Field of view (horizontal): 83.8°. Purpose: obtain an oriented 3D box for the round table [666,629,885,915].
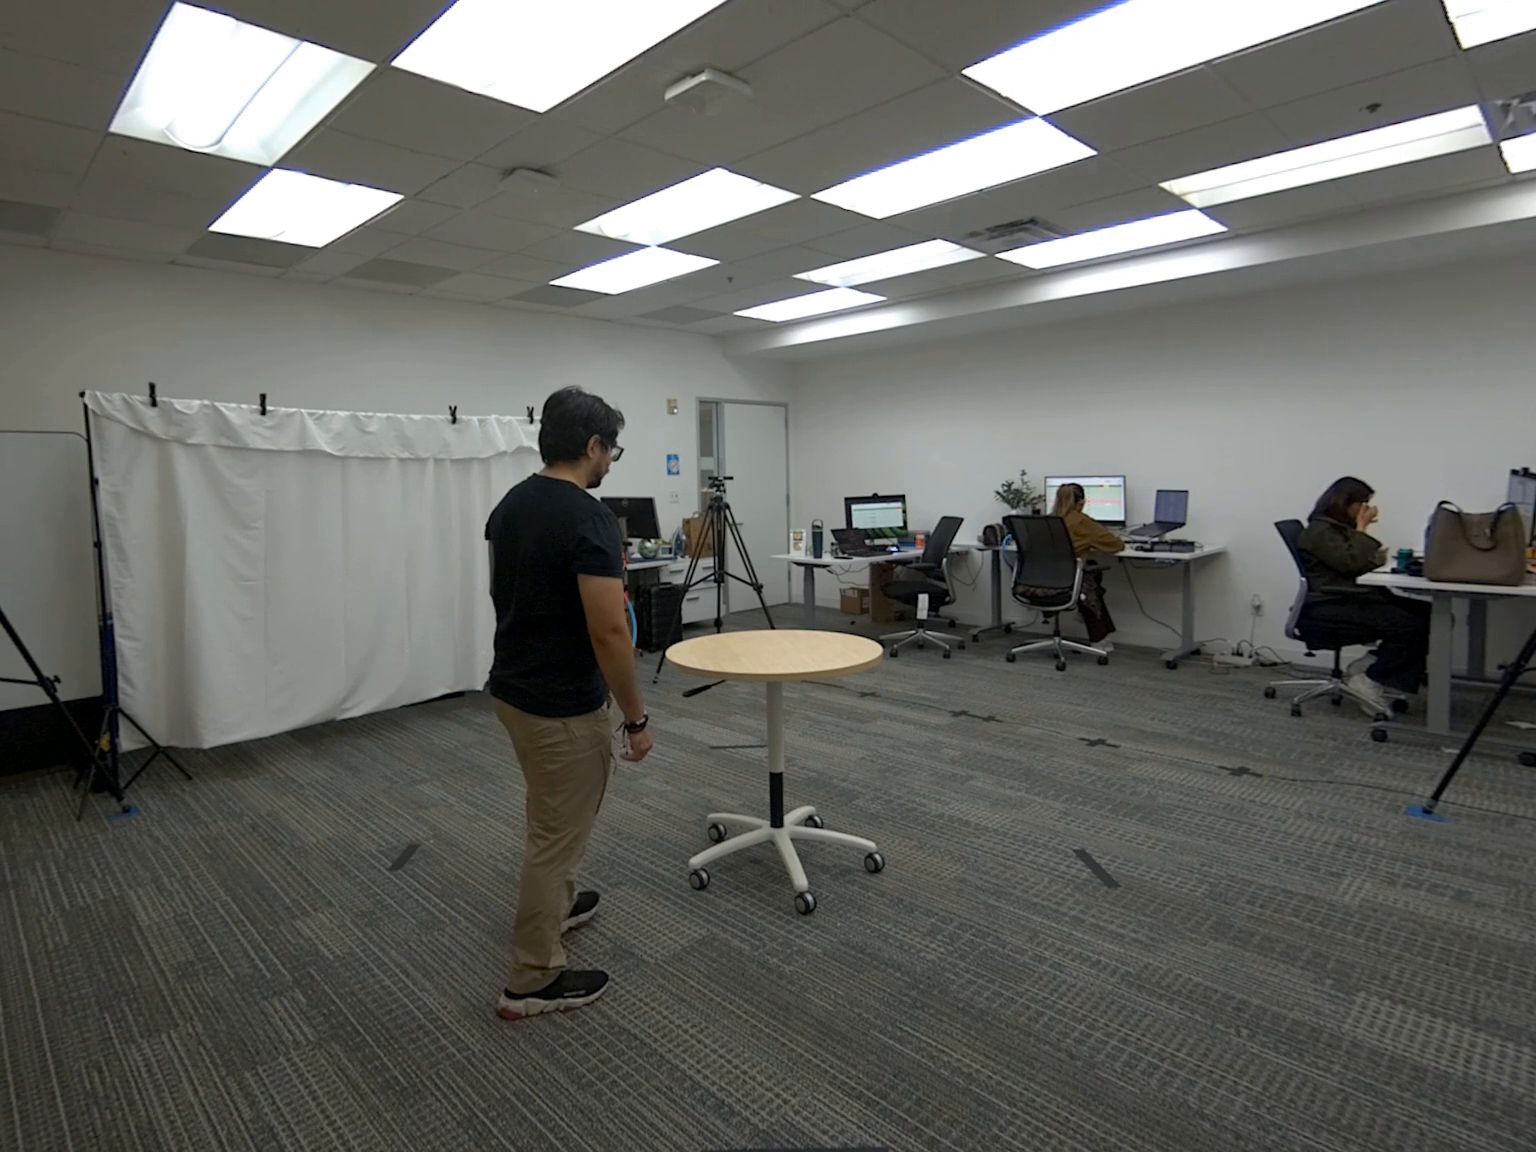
[{"bbox_3d":[0.025,0.646,3.069,0.784,0.783,0.789,-1,5,-2],"label":"round table"}]
